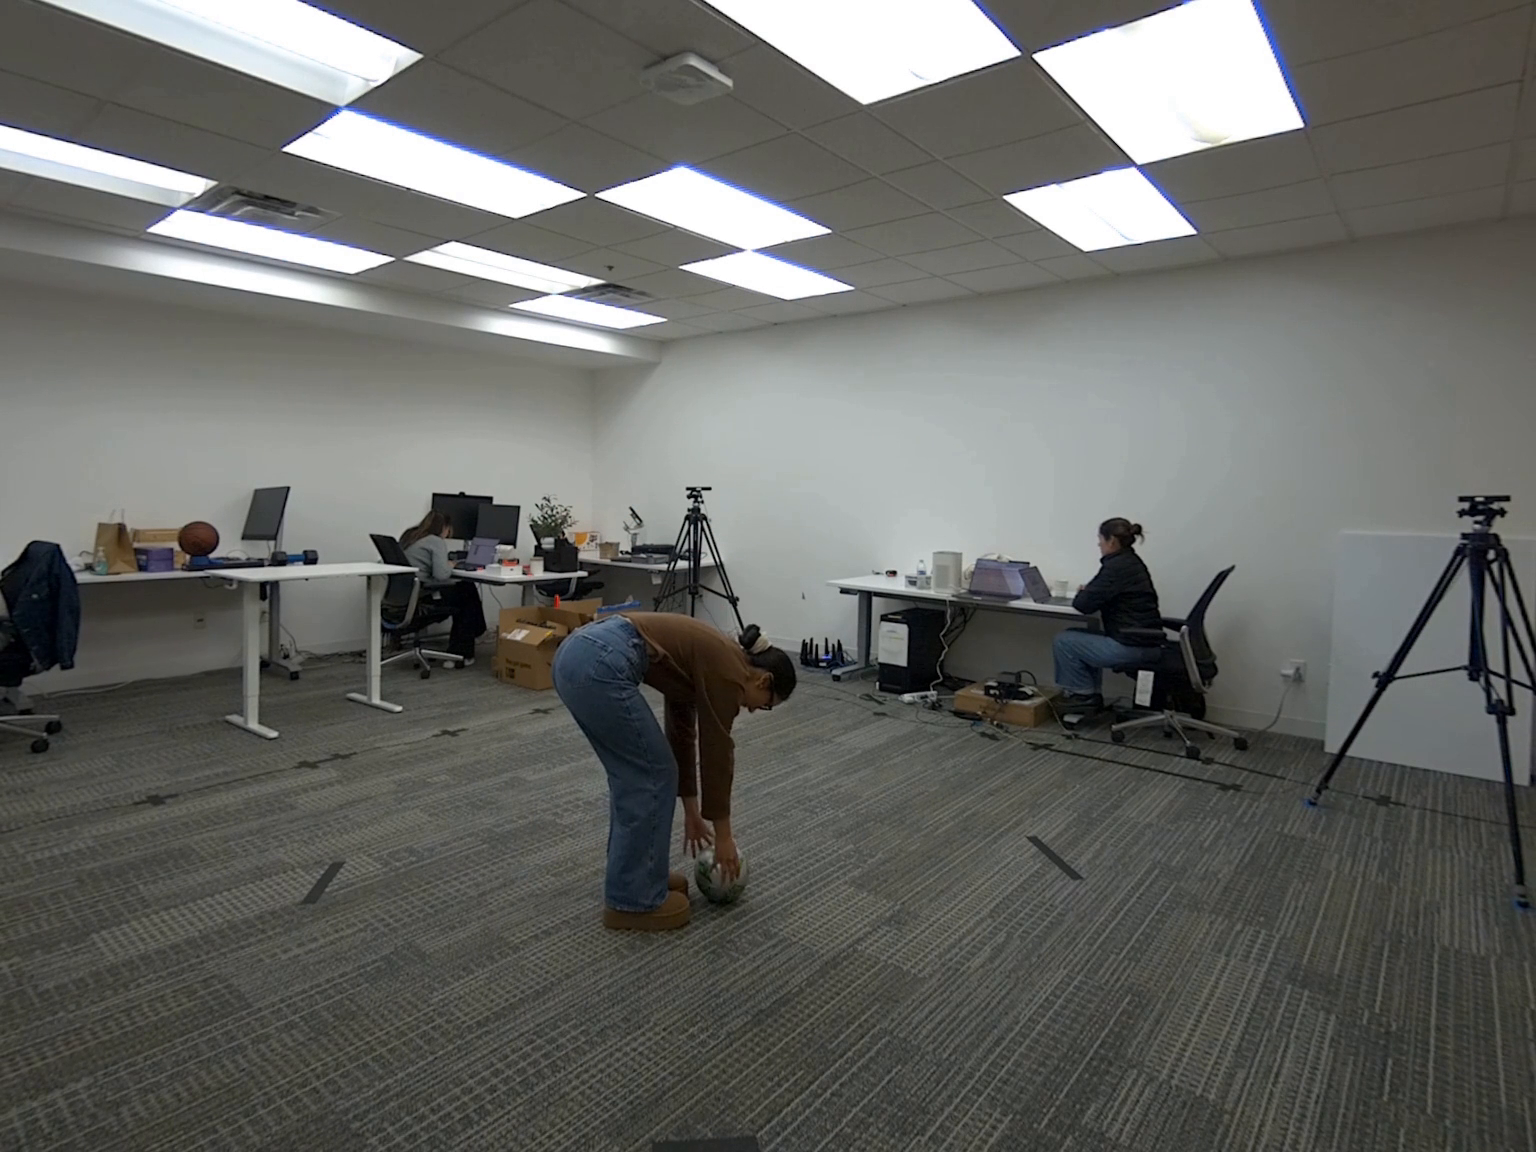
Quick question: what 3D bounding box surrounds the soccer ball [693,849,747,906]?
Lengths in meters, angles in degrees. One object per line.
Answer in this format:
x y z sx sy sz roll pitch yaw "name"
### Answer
-0.165 0.999 2.861 0.187 0.187 0.188 1 4 -2 "soccer ball"
